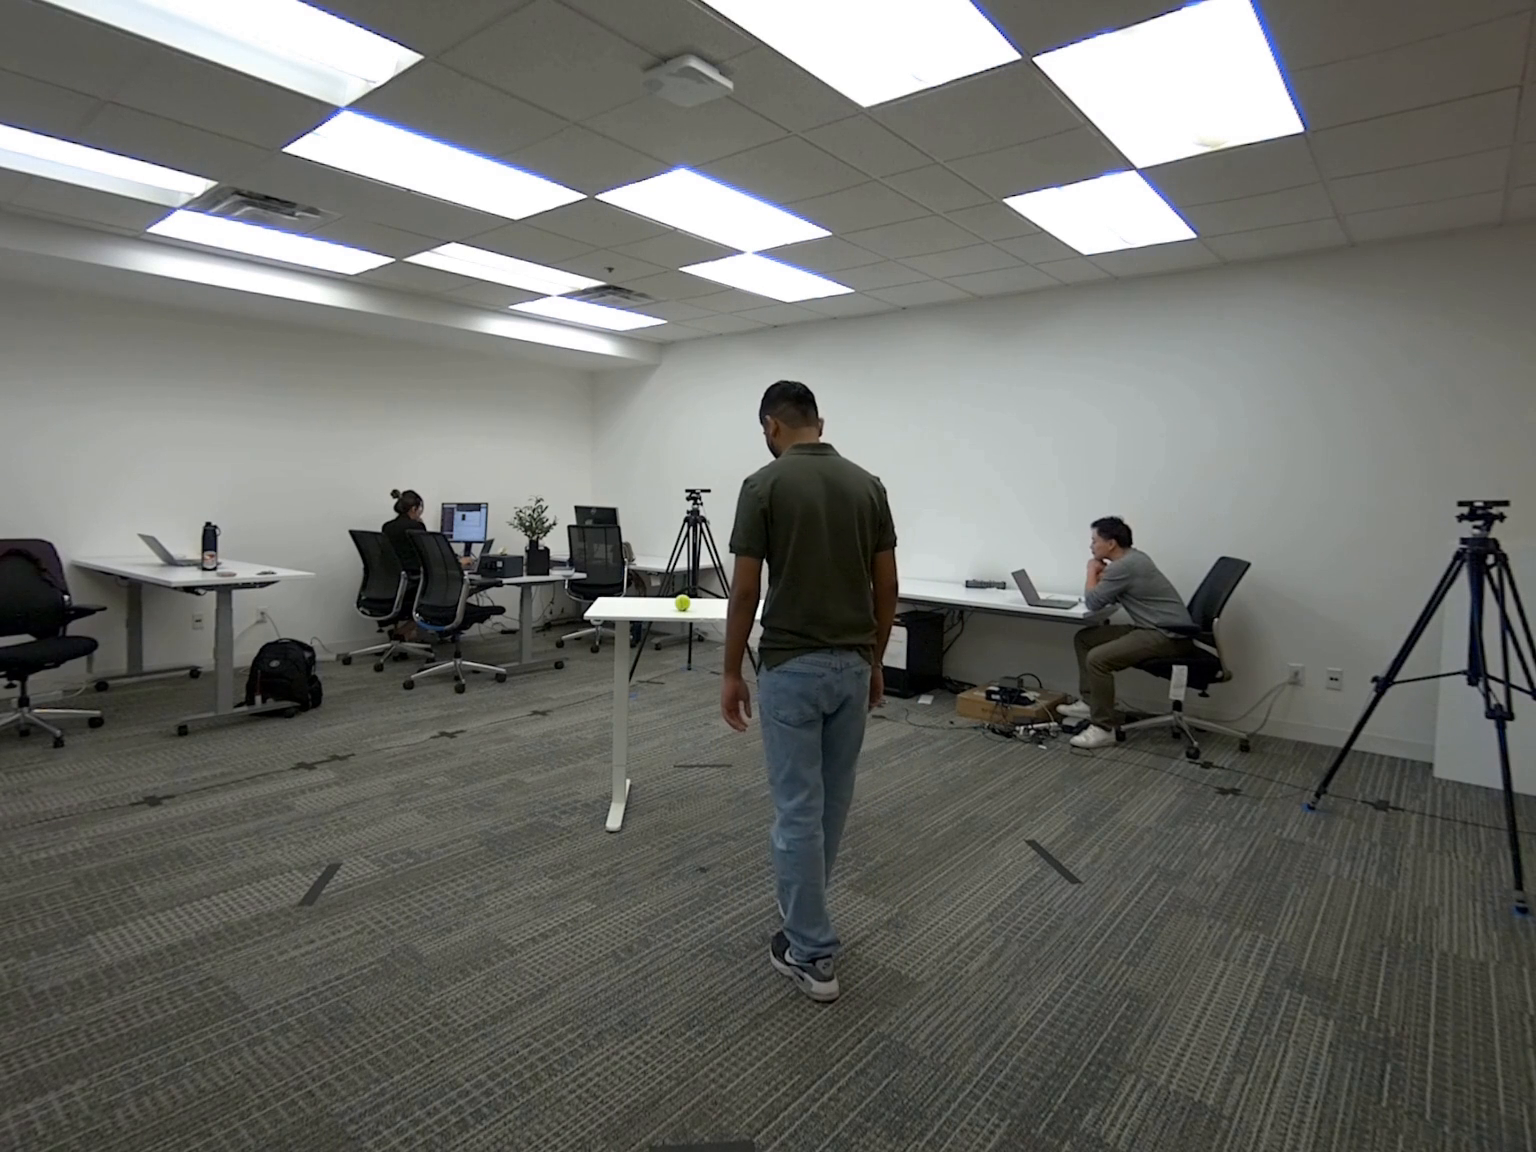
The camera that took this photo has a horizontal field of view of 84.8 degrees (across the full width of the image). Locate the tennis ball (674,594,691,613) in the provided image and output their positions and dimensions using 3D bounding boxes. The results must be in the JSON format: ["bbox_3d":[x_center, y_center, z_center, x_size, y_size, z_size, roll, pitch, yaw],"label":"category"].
[{"bbox_3d":[-0.372,0.107,3.584,0.066,0.066,0.067,1,4,-2],"label":"tennis ball"}]
